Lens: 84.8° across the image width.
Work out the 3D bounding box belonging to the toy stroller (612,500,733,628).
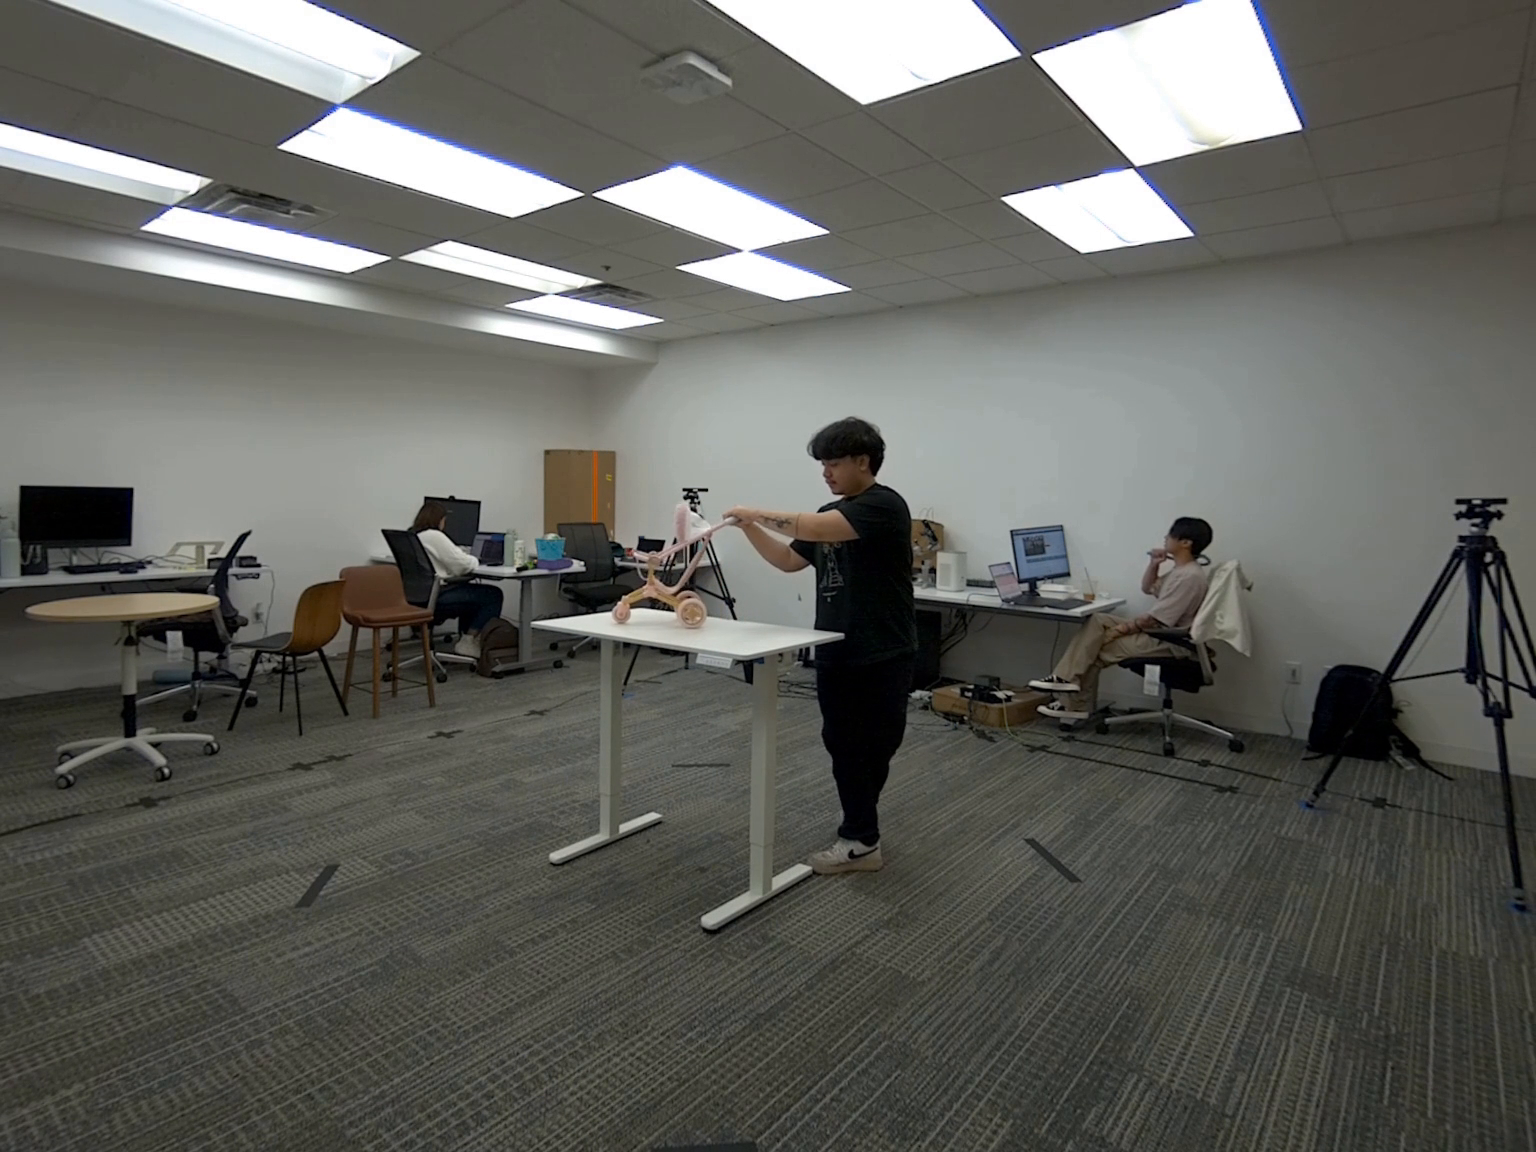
[{"bbox_3d":[-0.364,-0.041,3.193,0.341,0.535,0.282,17,1,-2],"label":"toy stroller"}]
